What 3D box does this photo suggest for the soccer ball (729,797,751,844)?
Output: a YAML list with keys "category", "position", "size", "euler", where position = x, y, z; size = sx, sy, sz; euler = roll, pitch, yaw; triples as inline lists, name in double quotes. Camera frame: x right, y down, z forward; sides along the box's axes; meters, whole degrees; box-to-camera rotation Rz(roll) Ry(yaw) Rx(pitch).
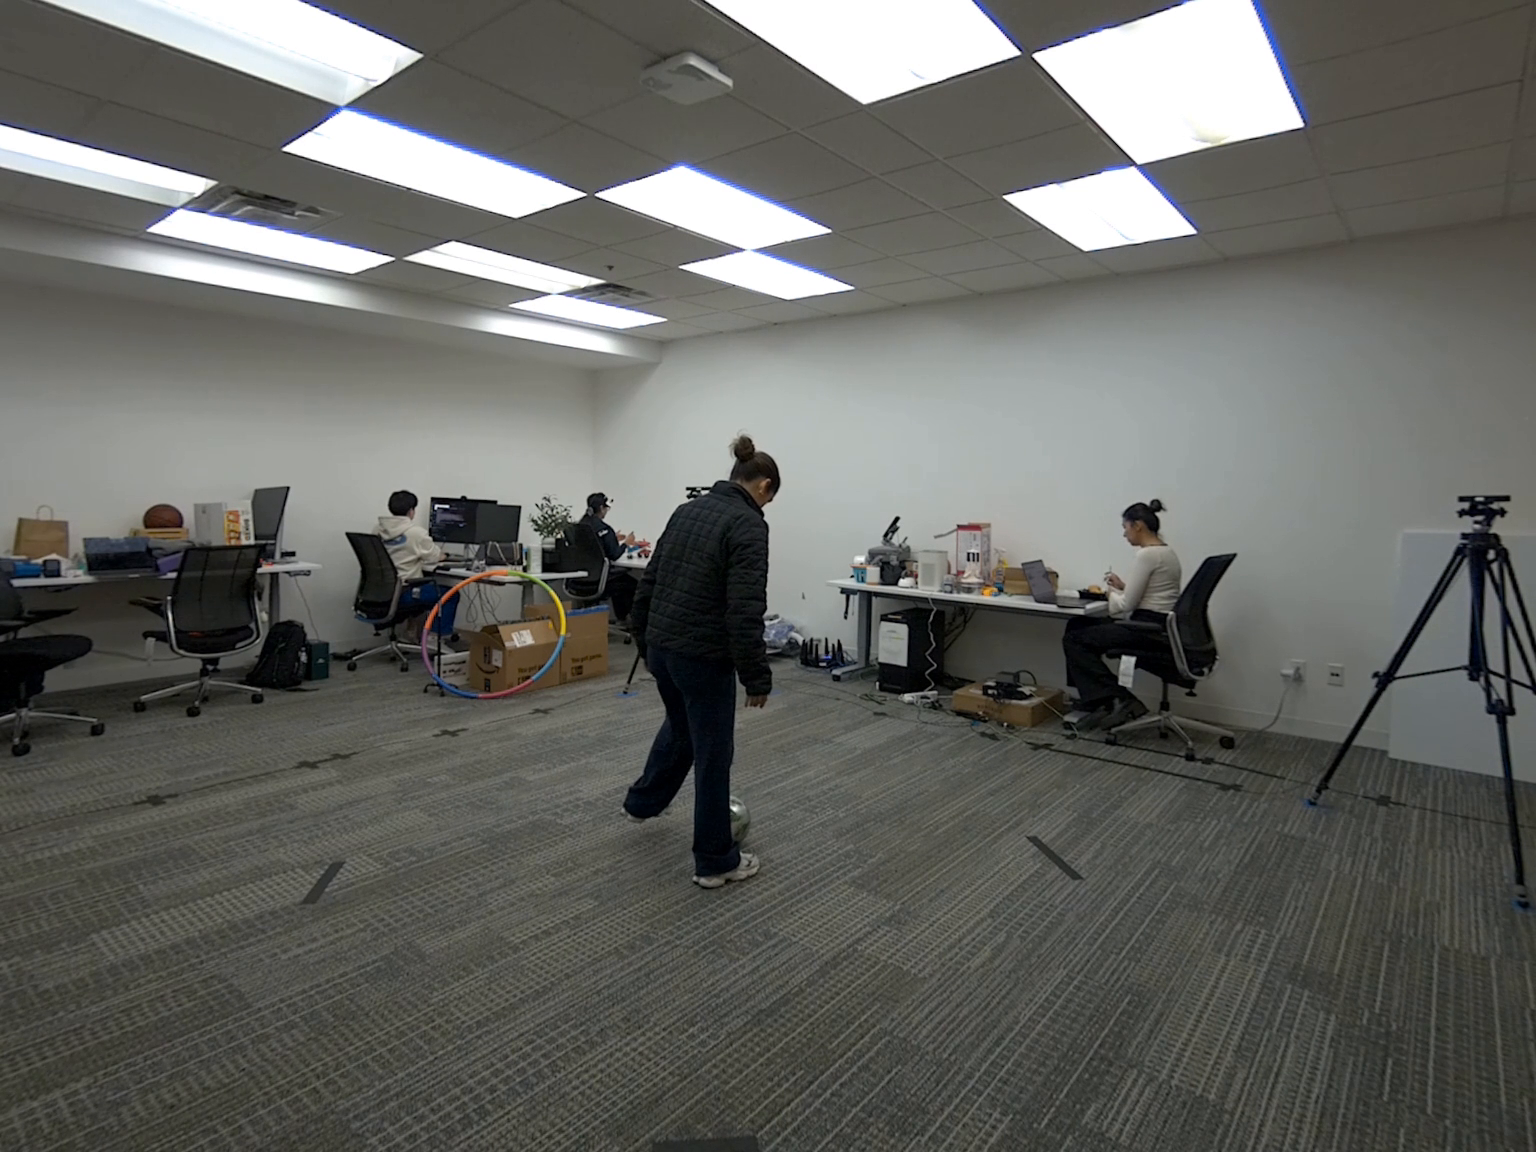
- category: "soccer ball"
  position: [-0.165, 0.949, 3.315]
  size: [0.187, 0.187, 0.188]
  euler: [1, 4, -2]
